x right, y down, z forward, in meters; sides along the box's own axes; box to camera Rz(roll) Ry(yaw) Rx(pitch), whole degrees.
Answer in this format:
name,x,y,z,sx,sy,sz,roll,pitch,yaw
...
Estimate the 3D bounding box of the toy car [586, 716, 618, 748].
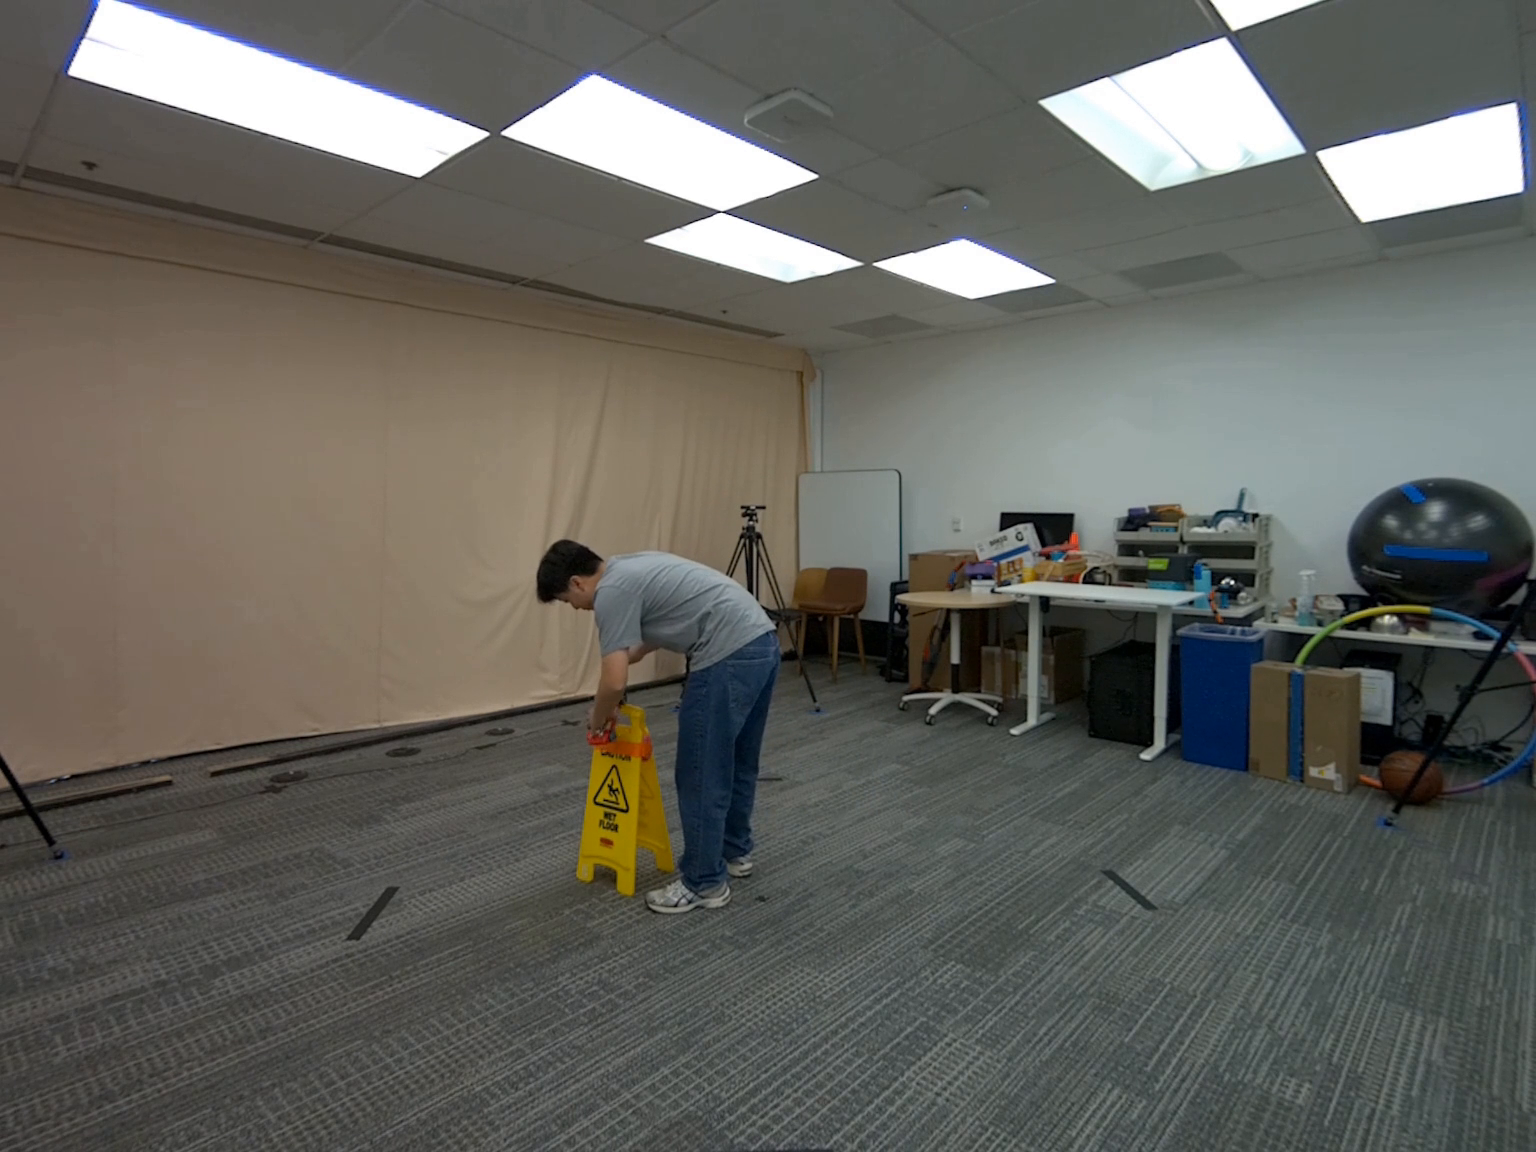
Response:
name,x,y,z,sx,sy,sz,roll,pitch,yaw
toy car,-0.582,0.501,3.118,0.133,0.258,0.080,-14,-28,32
